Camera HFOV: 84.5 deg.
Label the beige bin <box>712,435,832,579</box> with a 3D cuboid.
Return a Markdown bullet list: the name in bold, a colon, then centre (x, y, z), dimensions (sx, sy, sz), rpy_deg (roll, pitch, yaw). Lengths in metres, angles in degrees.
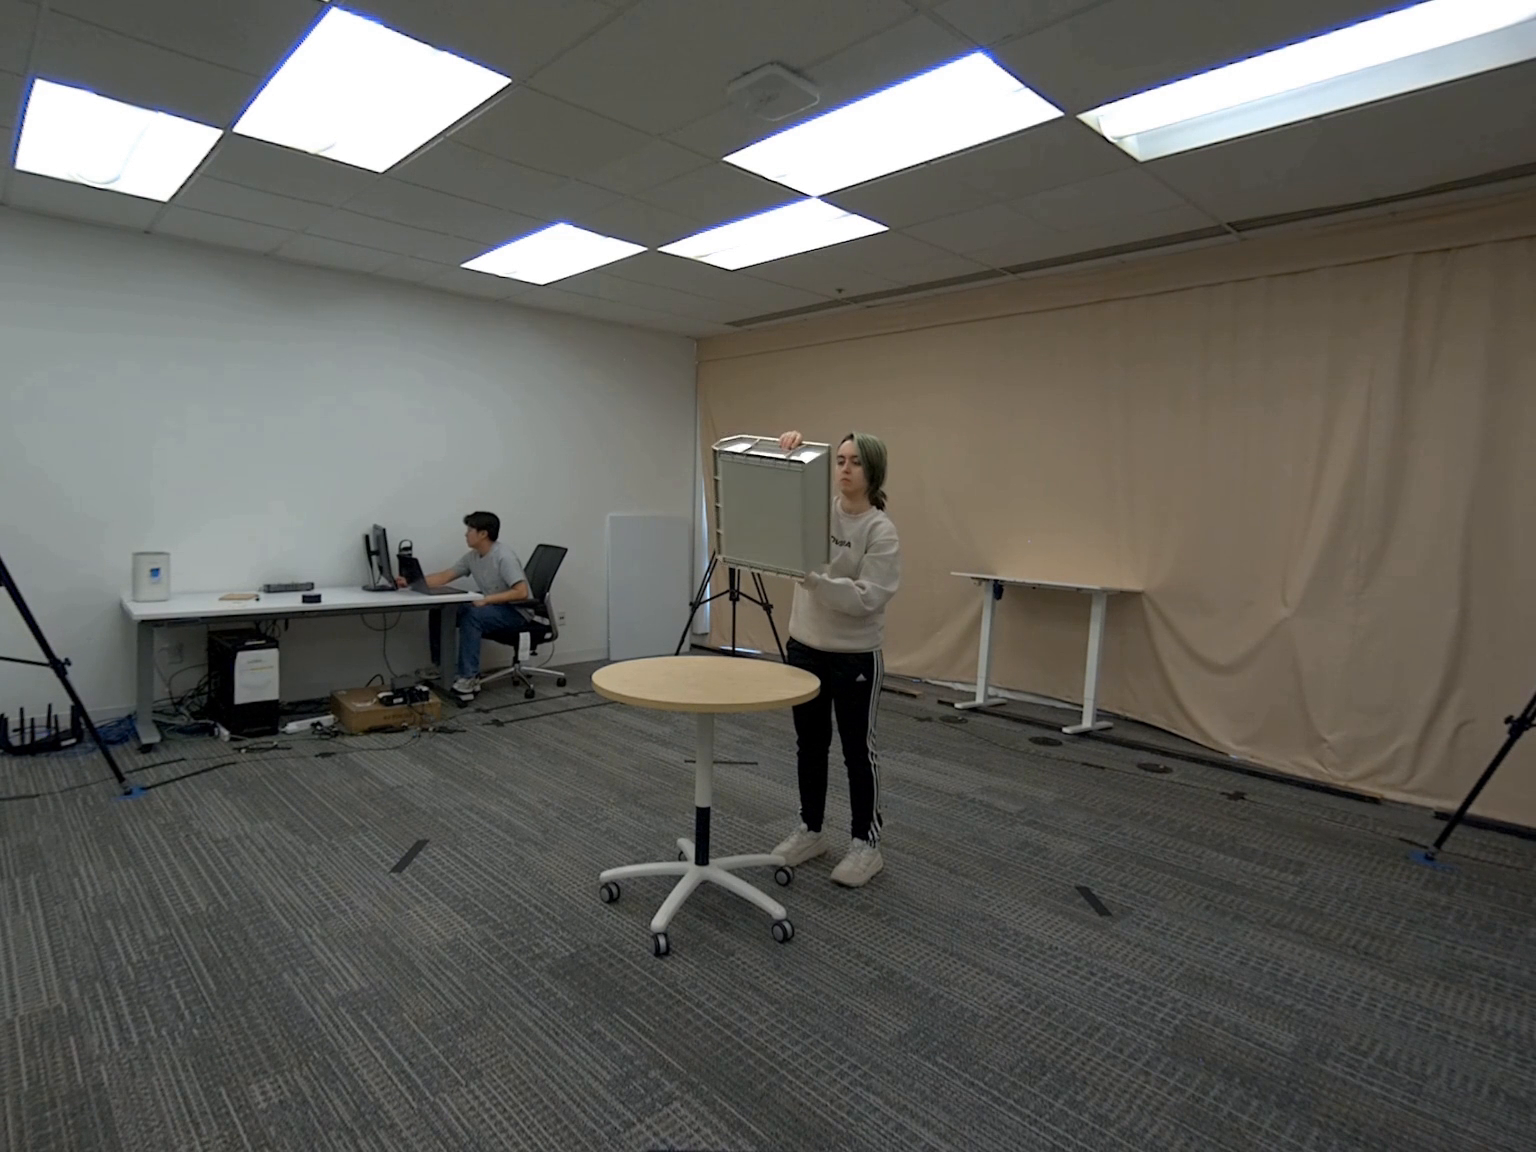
- **beige bin**: centre (-0.003, -0.232, 2.817), dimensions (0.386, 0.415, 0.187), rpy_deg (12, 26, 29)
